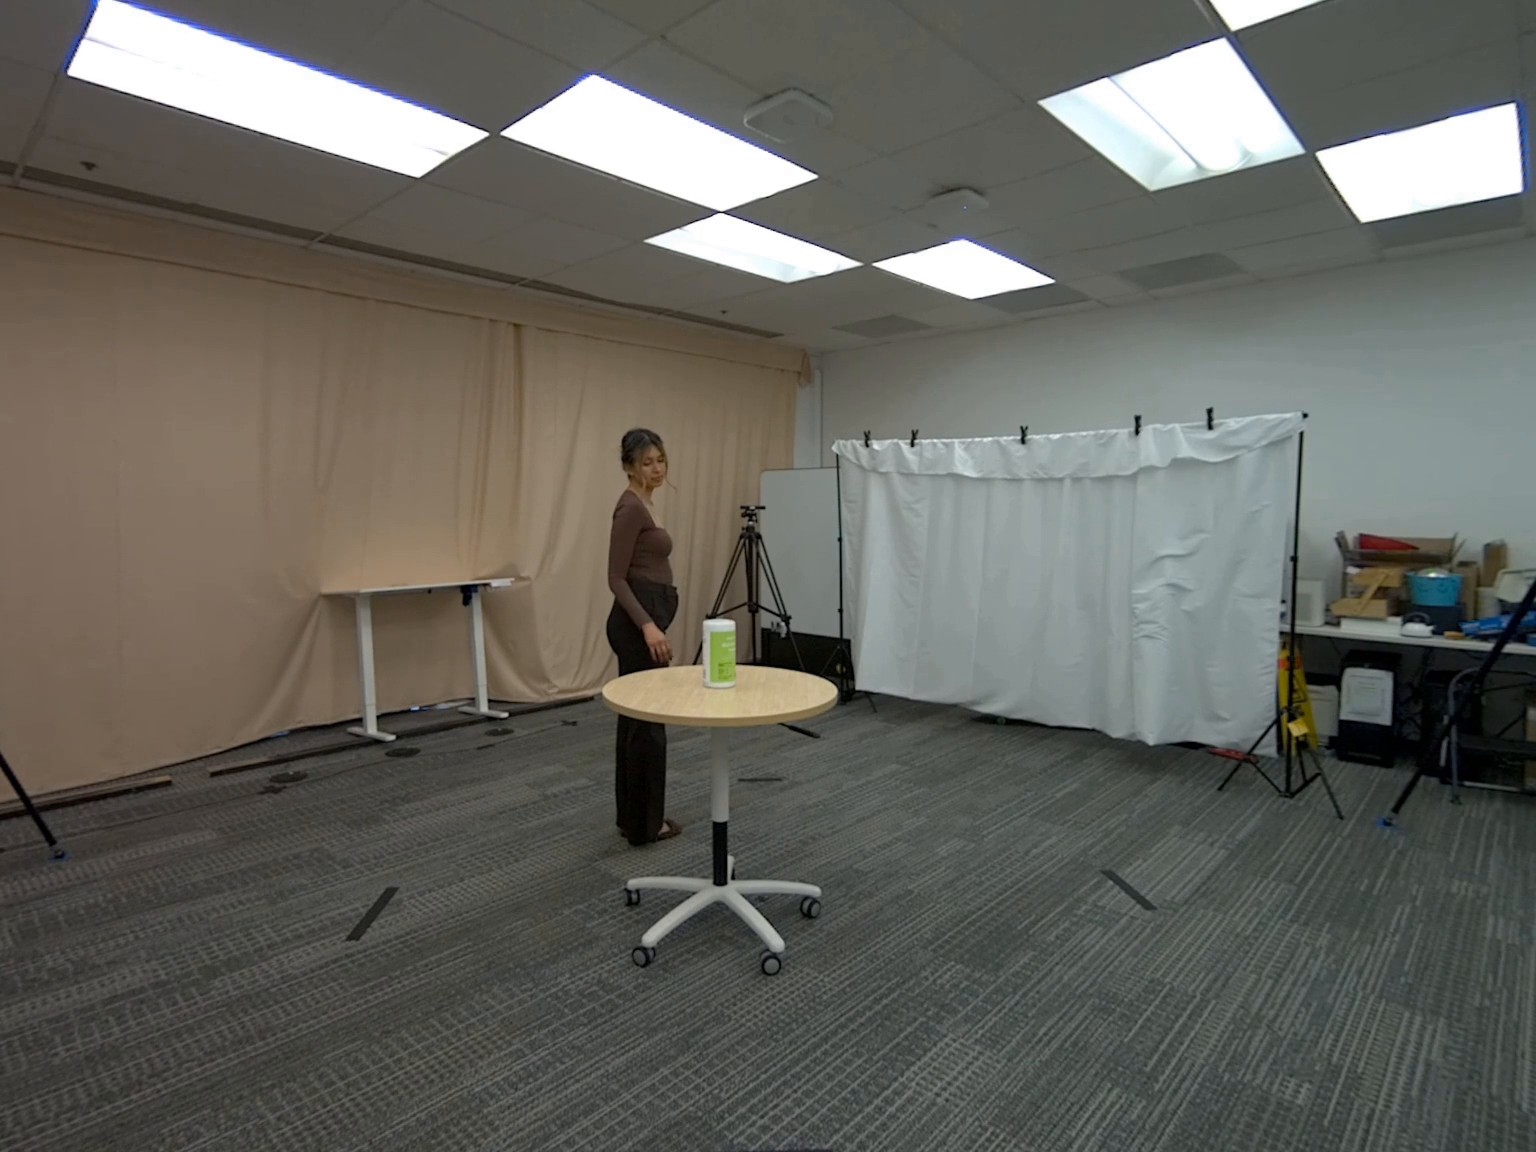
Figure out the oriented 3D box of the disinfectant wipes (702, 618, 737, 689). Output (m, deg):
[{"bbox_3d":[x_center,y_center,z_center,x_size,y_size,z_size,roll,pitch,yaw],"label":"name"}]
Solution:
[{"bbox_3d":[-0.161,0.258,2.788,0.118,0.217,0.118,1,2,-2],"label":"disinfectant wipes"}]
